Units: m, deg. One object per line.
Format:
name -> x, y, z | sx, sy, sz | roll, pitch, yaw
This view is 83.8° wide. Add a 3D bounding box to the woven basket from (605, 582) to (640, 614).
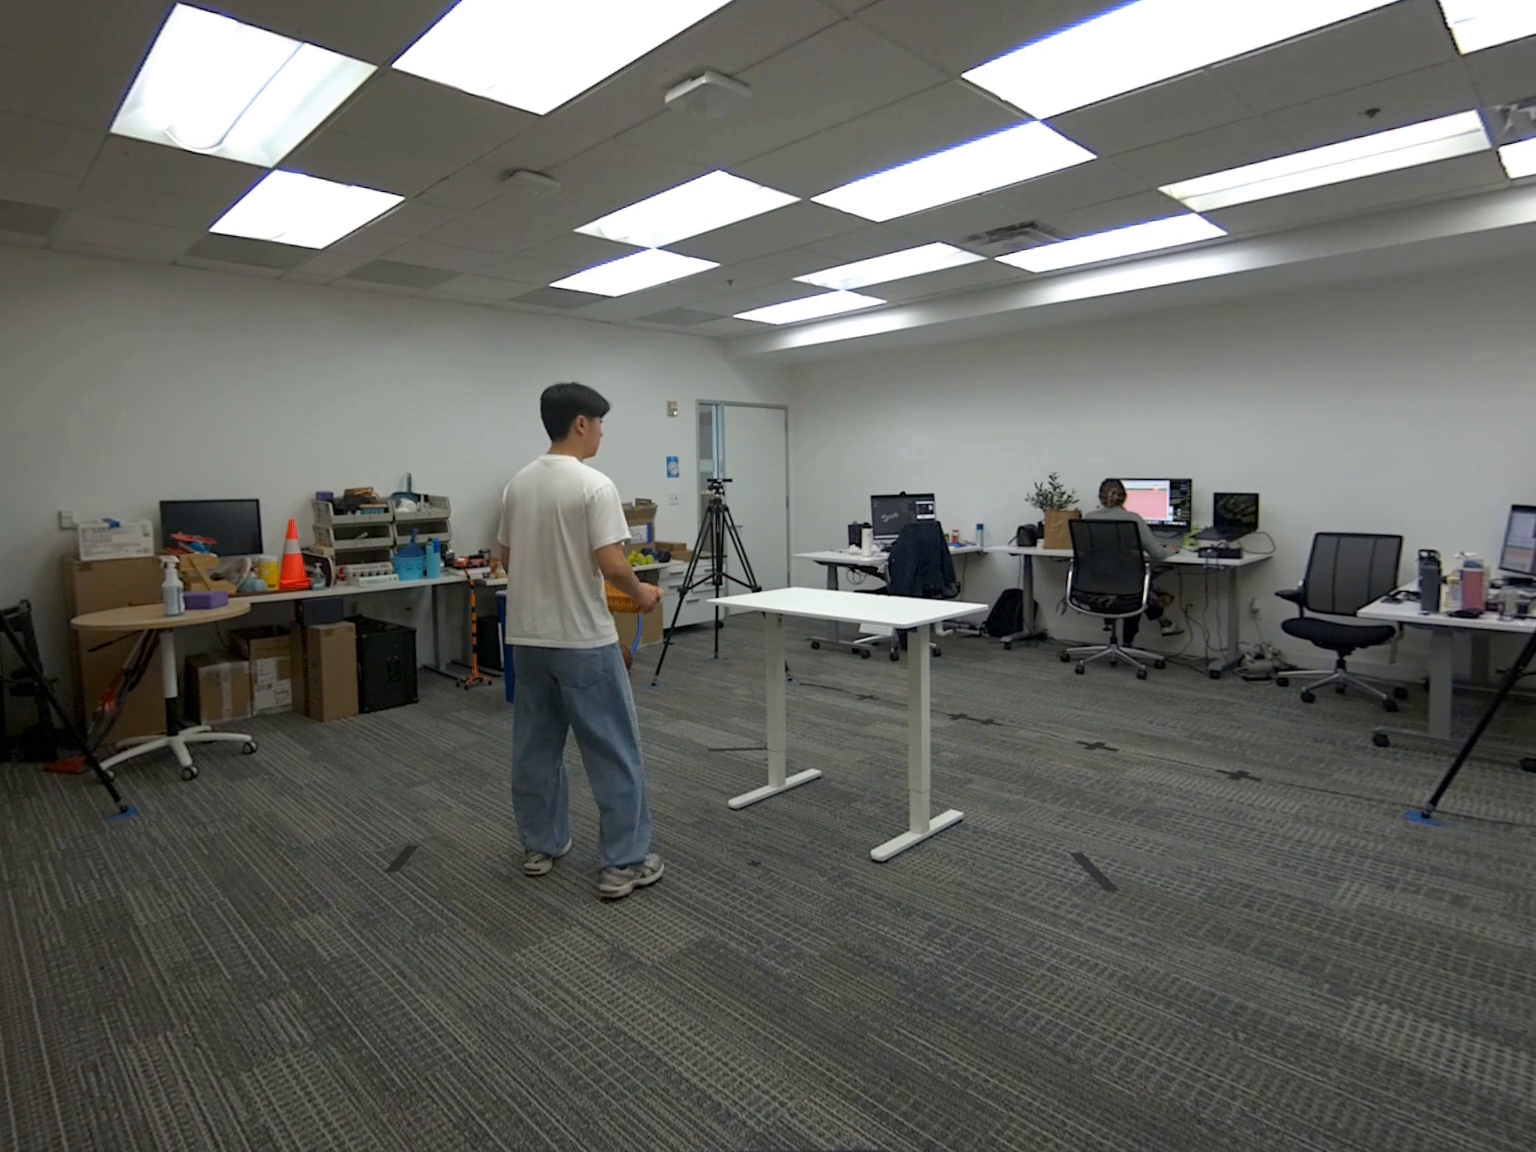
woven basket -> -0.549, 0.083, 3.190 | 0.246, 0.073, 0.362 | -10, 13, -44
